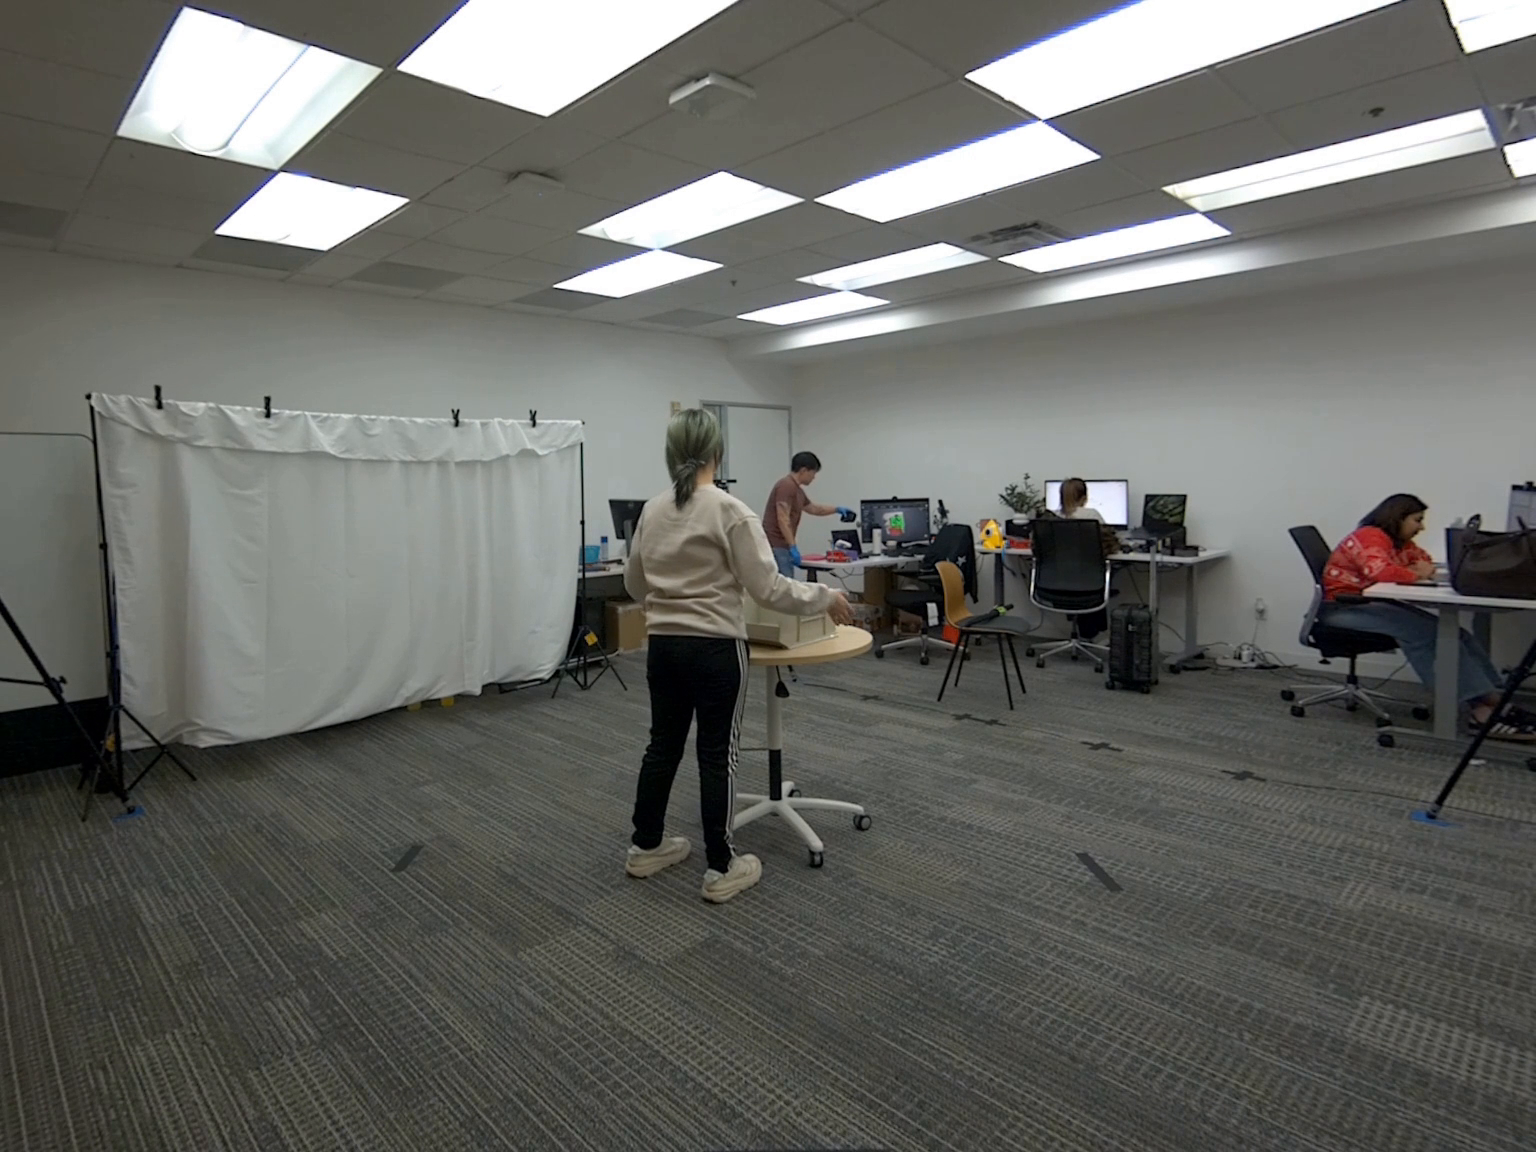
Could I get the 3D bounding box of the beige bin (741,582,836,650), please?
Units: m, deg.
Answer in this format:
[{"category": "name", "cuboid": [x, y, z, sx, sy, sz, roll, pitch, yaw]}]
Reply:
[{"category": "beige bin", "cuboid": [0.003, 0.152, 3.299, 0.435, 0.188, 0.367, 3, 7, 41]}]
